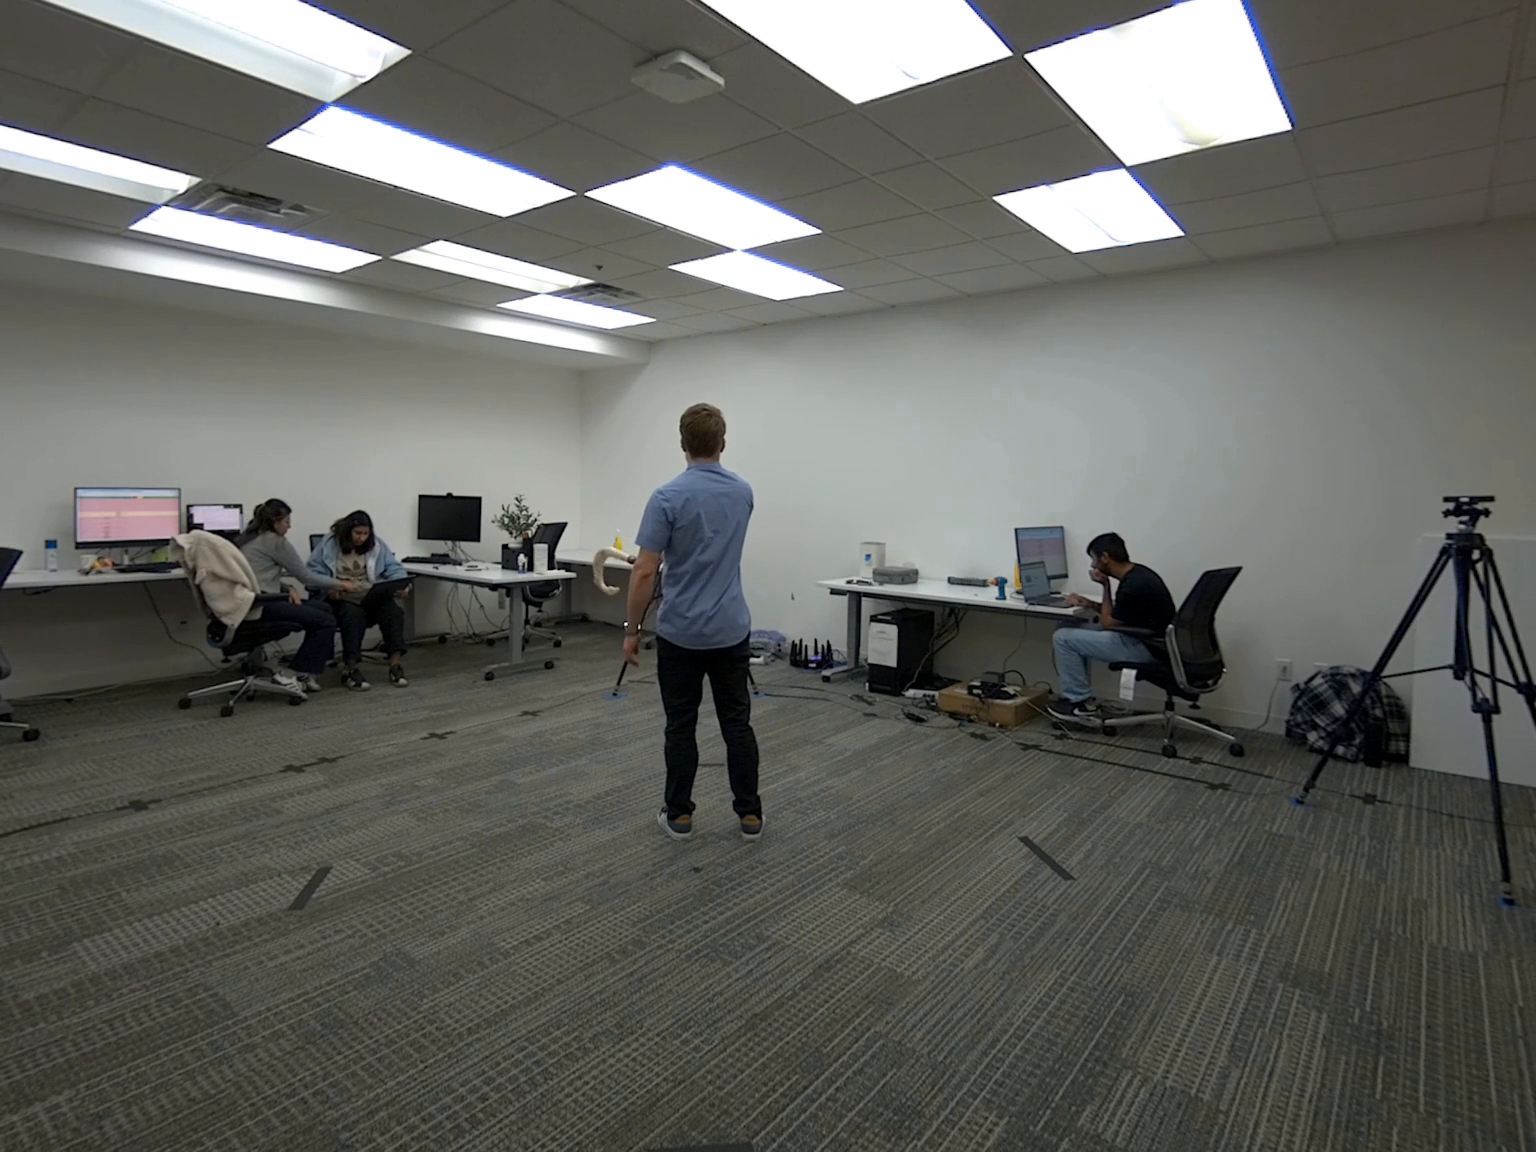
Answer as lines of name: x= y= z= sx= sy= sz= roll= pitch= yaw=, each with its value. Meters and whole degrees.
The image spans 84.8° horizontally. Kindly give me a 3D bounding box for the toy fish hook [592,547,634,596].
toy fish hook: x=-0.665 y=-0.057 z=3.900 sx=0.047 sy=0.224 sz=0.522 roll=-6 pitch=4 yaw=-42
